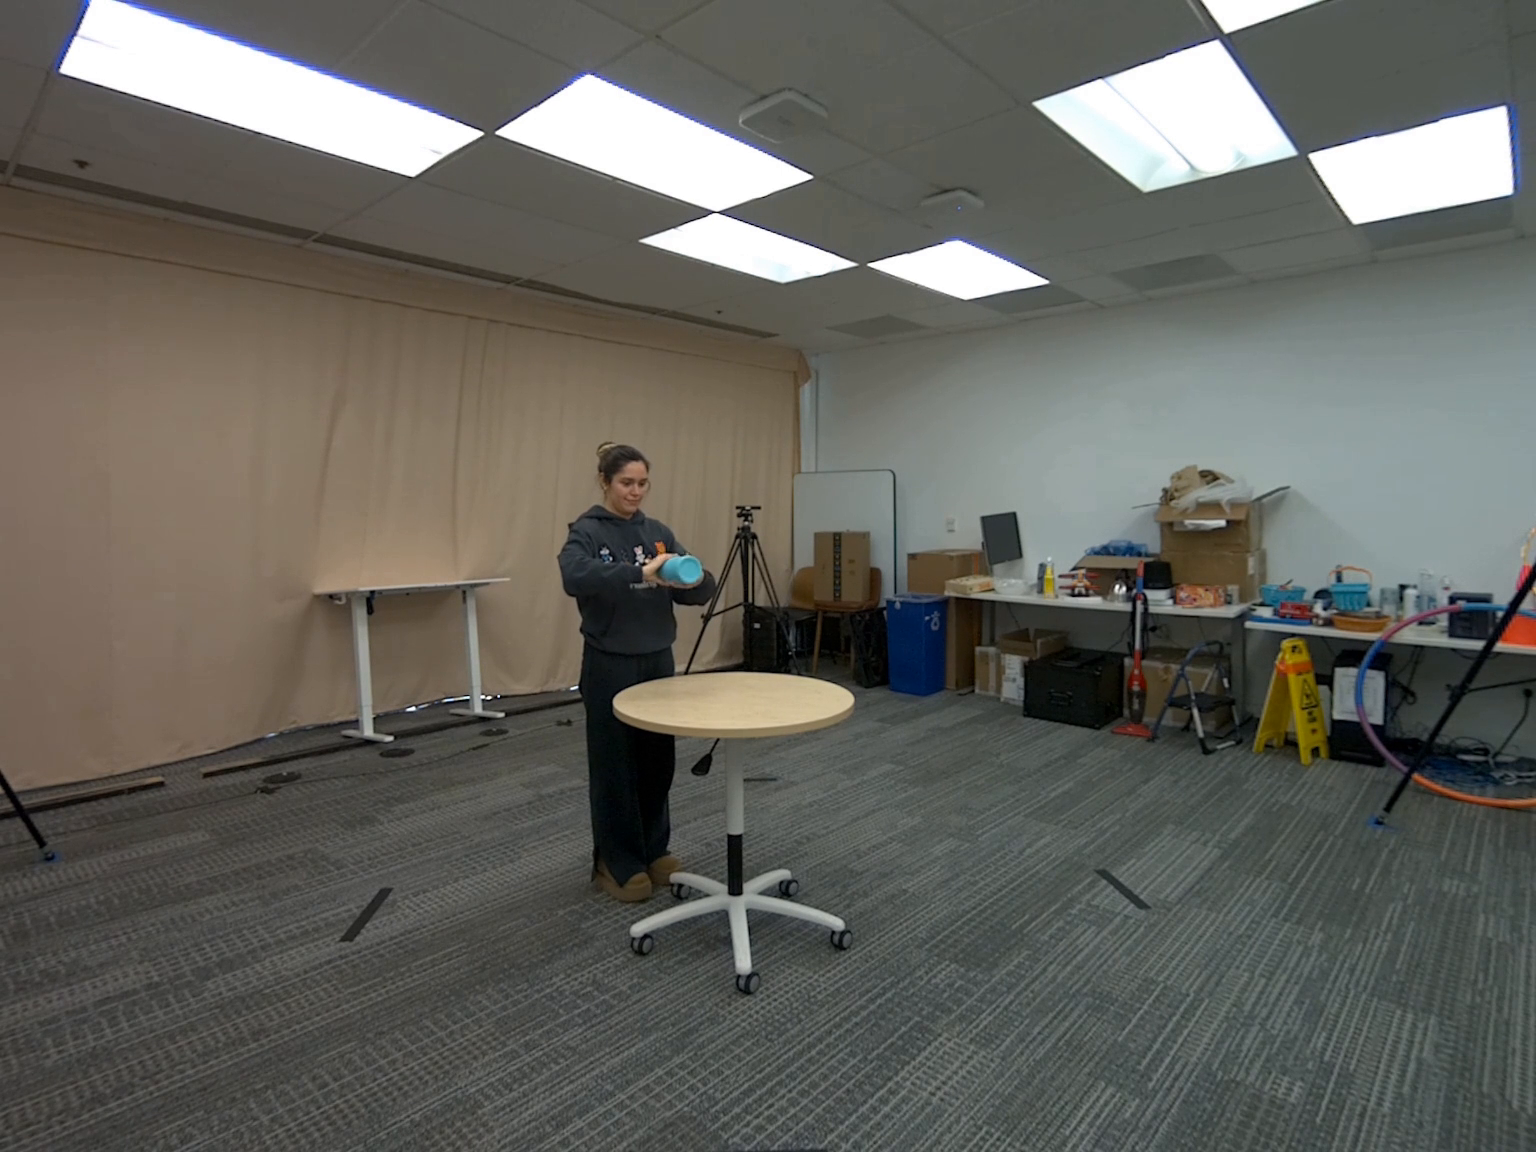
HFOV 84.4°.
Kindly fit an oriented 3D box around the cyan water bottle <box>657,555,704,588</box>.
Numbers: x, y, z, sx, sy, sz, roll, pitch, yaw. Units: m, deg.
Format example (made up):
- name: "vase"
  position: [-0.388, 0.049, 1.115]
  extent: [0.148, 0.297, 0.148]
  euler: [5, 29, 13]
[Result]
- name: "cyan water bottle"
  position: [-0.306, -0.017, 2.844]
  extent: [0.090, 0.092, 0.289]
  euler: [-2, -1, -25]
